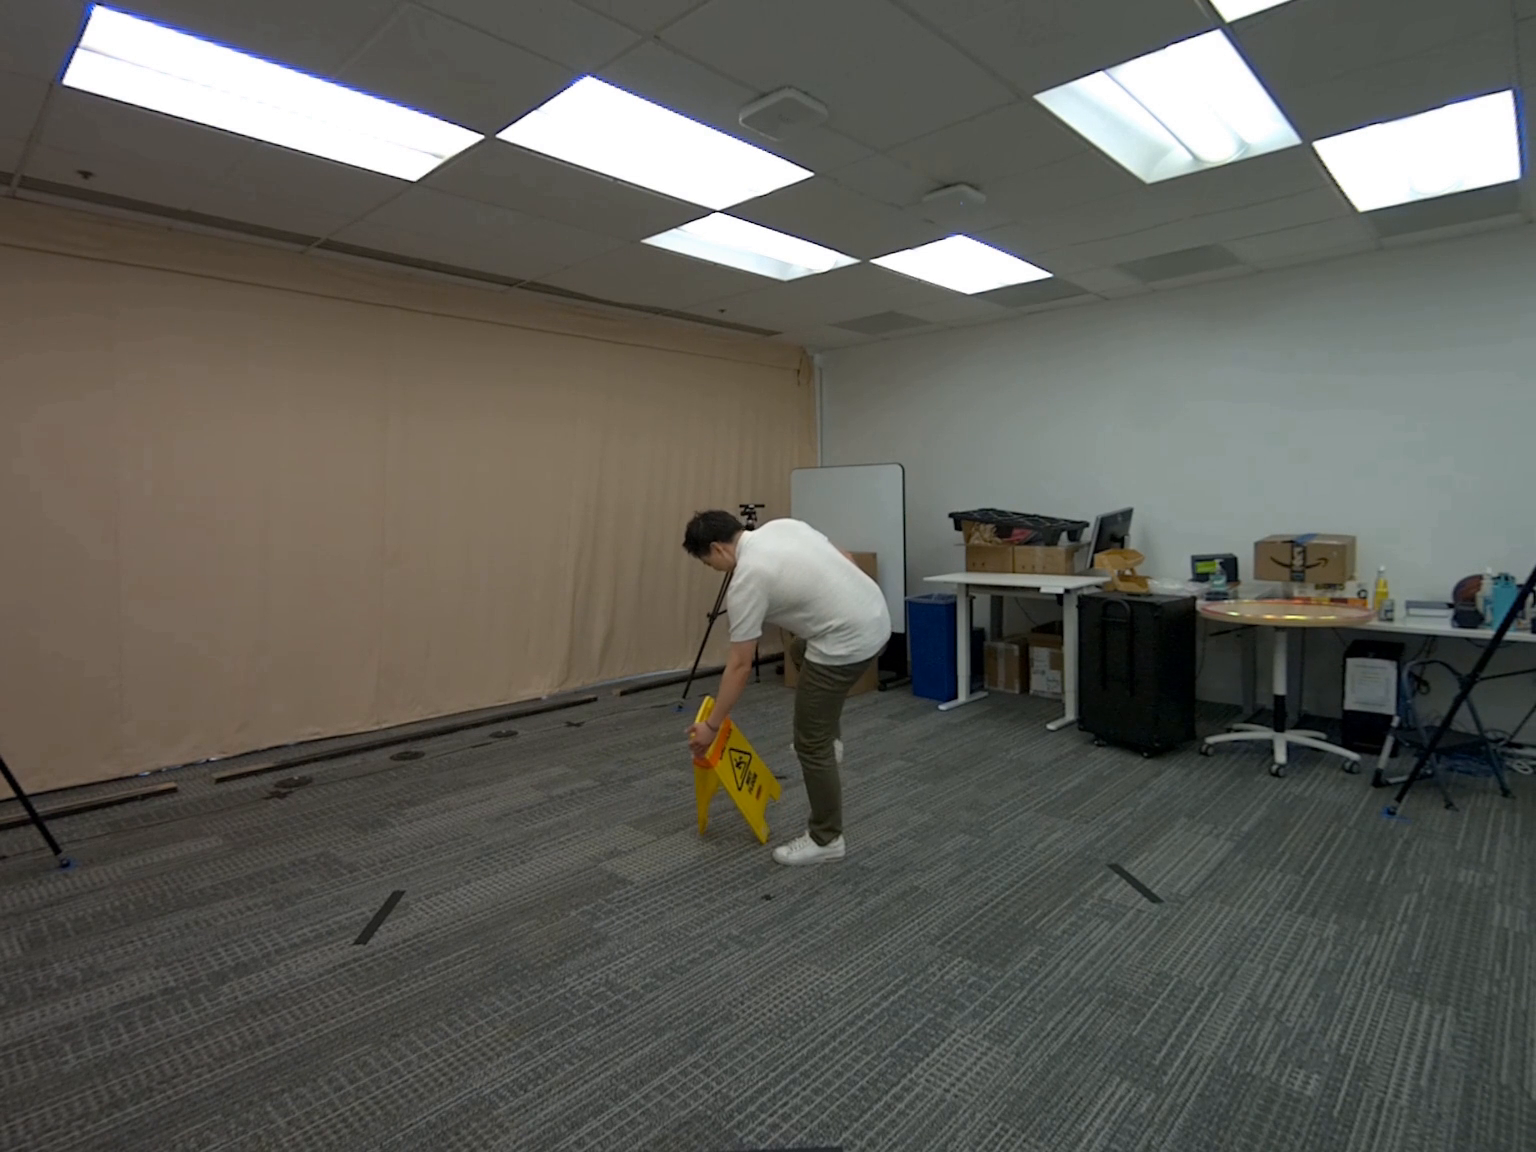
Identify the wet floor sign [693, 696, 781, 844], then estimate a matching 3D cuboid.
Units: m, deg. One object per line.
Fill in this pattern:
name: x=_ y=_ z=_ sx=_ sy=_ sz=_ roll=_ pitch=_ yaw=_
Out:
wet floor sign: x=-0.187 y=0.774 z=3.423 sx=0.296 sy=0.629 sz=0.283 roll=-1 pitch=40 yaw=21
